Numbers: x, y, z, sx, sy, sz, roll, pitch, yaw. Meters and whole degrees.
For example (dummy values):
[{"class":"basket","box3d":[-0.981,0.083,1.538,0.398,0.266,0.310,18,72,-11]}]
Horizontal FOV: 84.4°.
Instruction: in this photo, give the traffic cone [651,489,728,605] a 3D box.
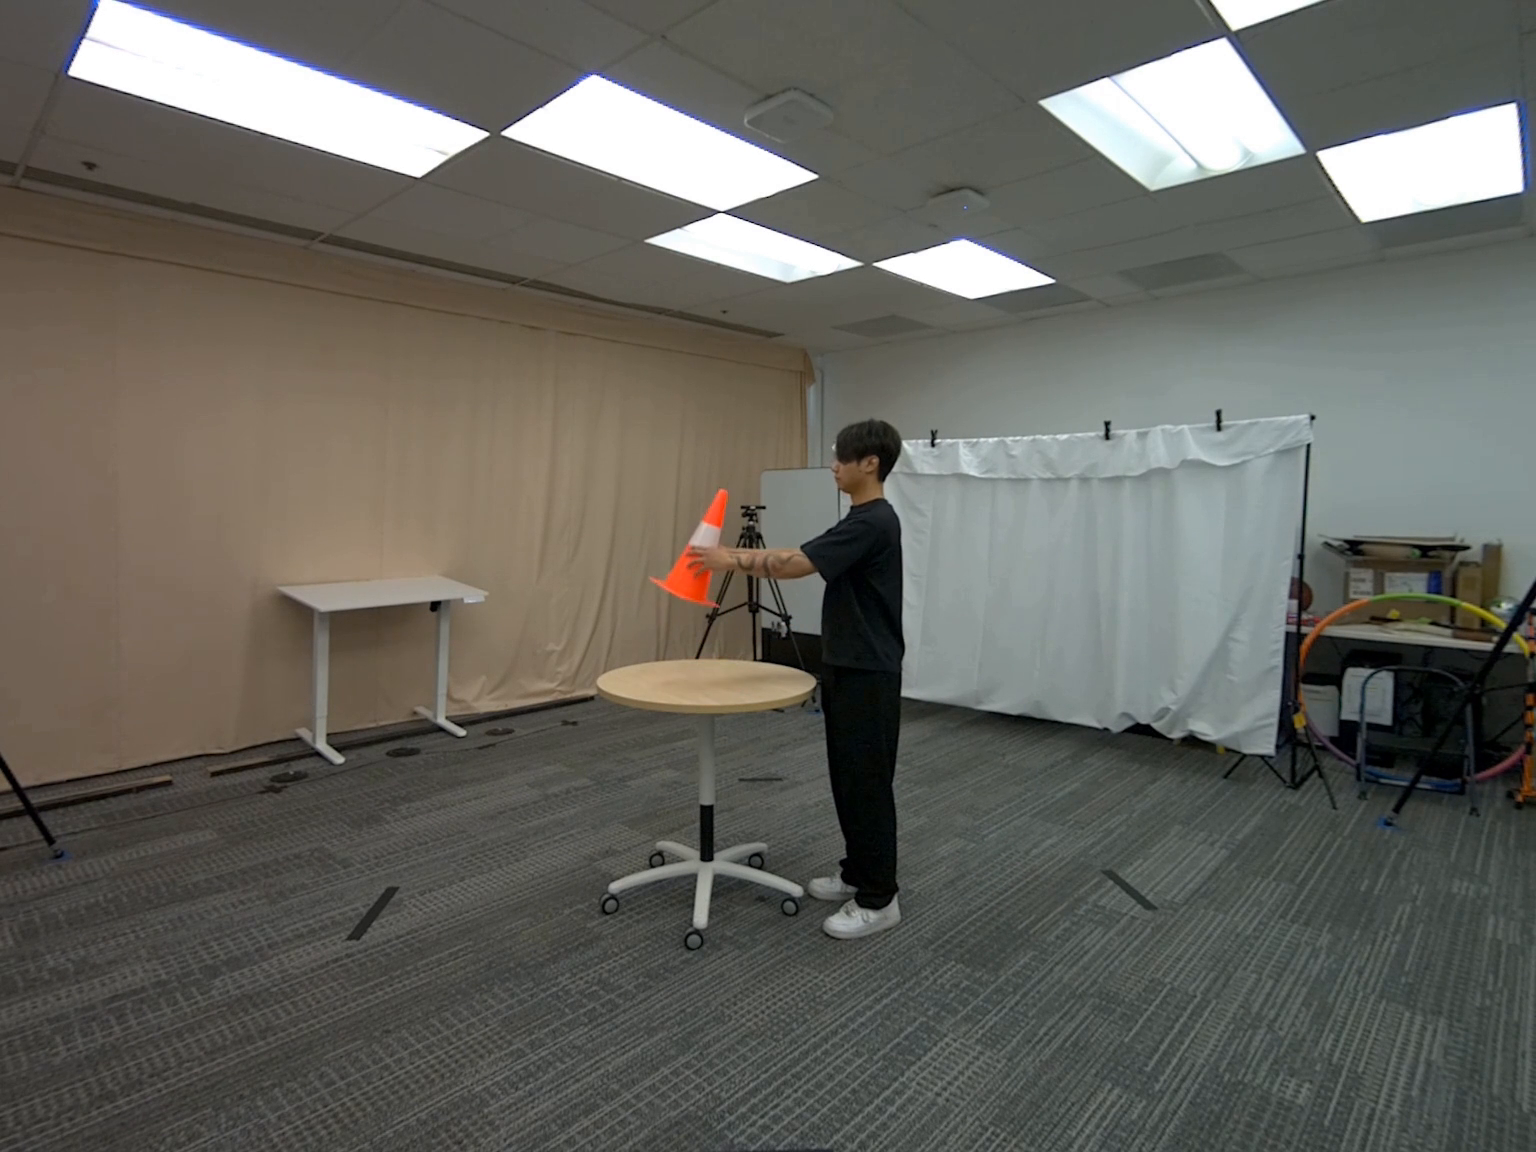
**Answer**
[{"class":"traffic cone","box3d":[-0.210,-0.120,2.916,0.212,0.383,0.196,25,4,42]}]
